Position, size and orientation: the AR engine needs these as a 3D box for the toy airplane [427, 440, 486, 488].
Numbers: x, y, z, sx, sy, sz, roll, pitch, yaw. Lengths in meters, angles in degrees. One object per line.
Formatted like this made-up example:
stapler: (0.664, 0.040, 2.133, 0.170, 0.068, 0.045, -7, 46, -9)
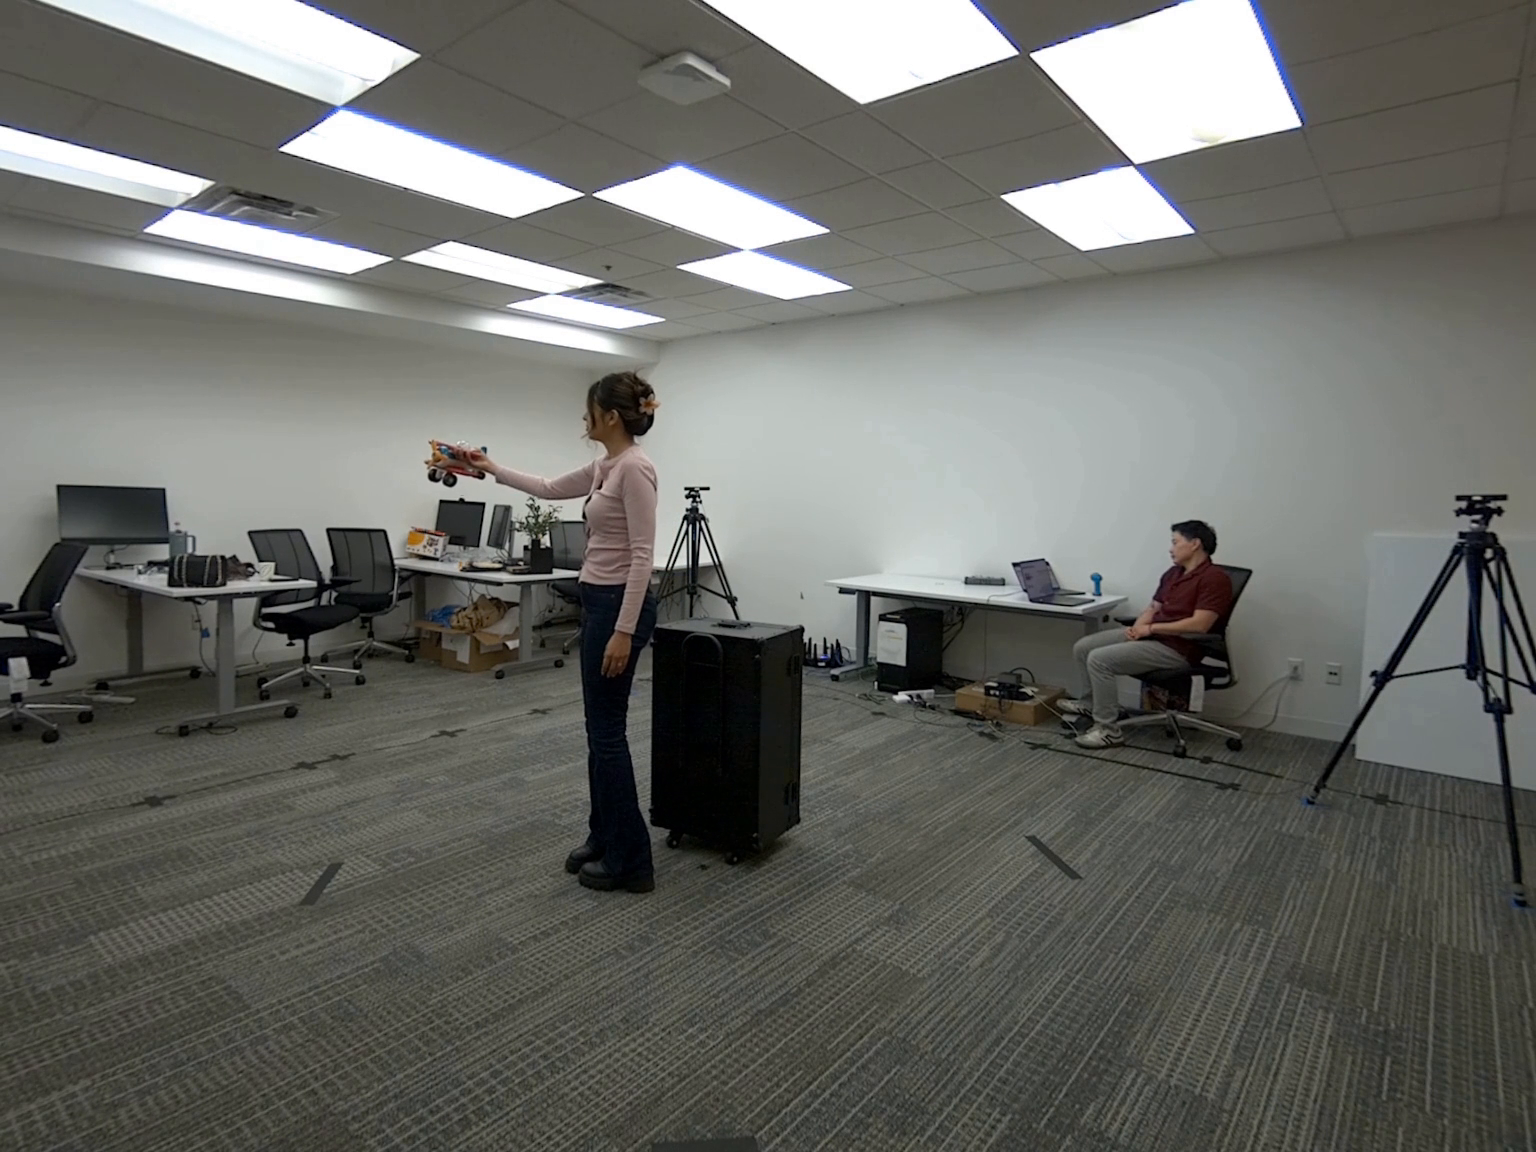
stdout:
toy airplane: (-1.246, -0.455, 3.335, 0.252, 0.154, 0.262, 8, 19, 2)
